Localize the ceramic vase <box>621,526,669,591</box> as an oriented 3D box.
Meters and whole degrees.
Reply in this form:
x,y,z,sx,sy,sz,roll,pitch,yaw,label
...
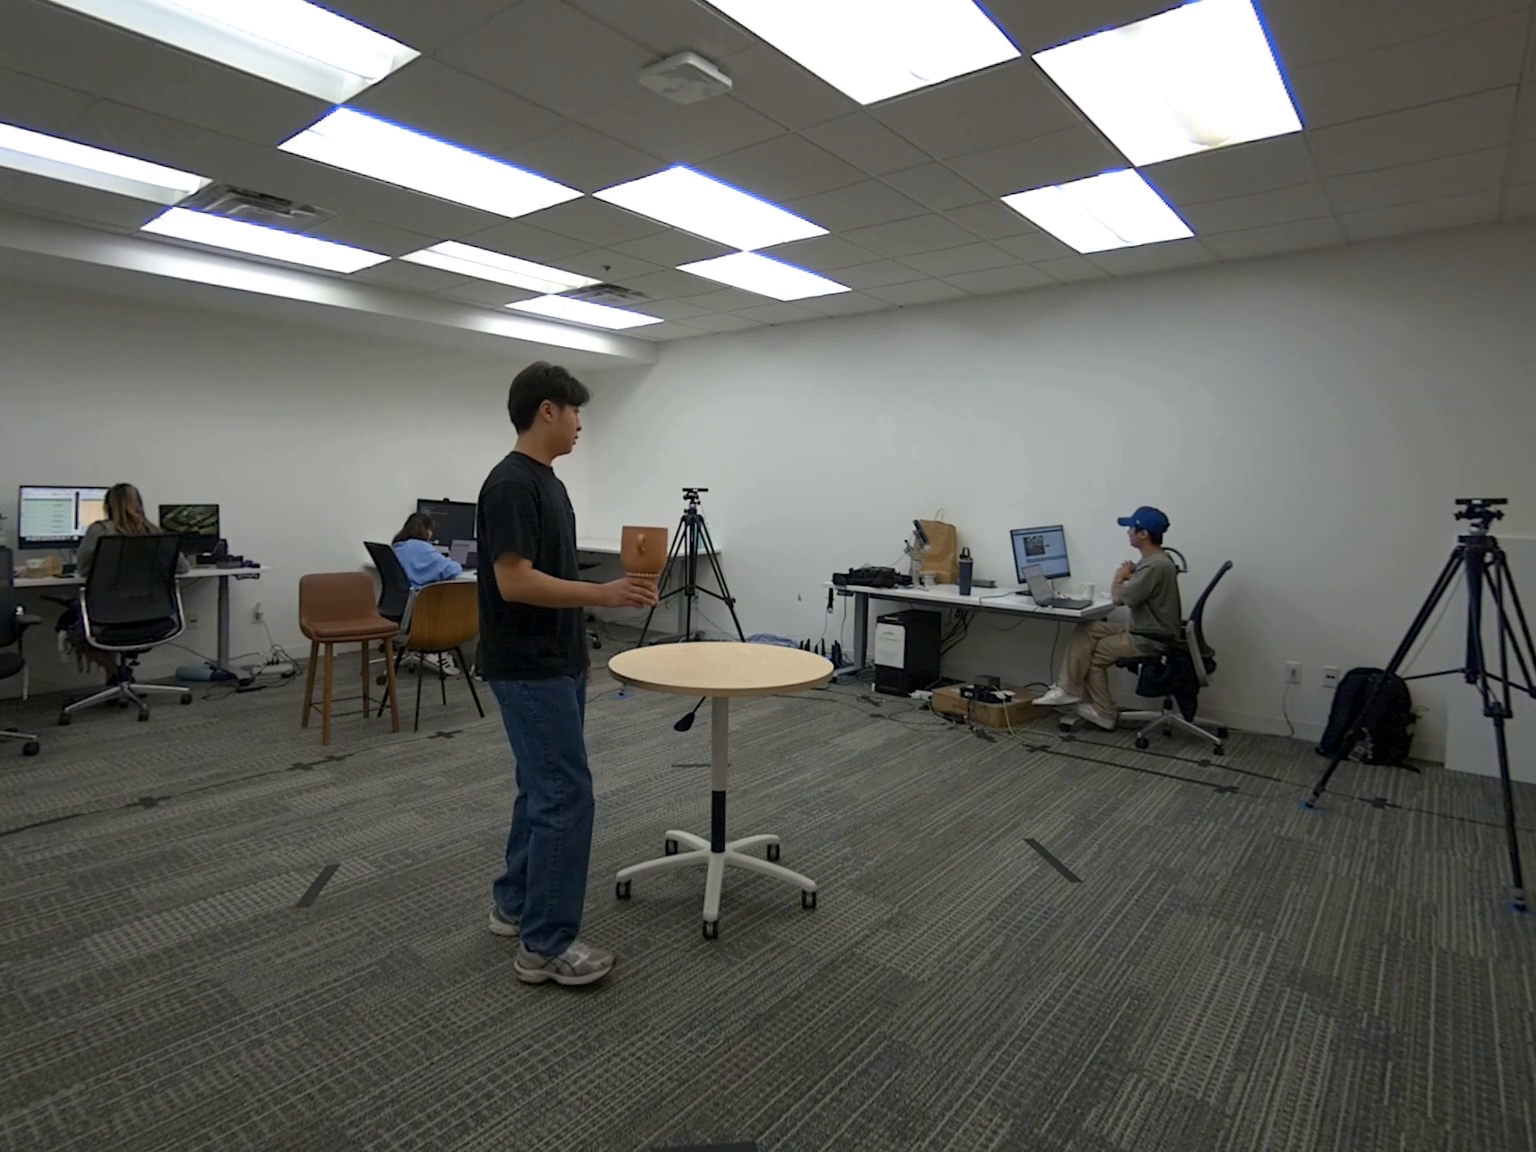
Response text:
x,y,z,sx,sy,sz,roll,pitch,yaw,label
-0.376,-0.032,2.436,0.139,0.220,0.153,3,1,41,ceramic vase
